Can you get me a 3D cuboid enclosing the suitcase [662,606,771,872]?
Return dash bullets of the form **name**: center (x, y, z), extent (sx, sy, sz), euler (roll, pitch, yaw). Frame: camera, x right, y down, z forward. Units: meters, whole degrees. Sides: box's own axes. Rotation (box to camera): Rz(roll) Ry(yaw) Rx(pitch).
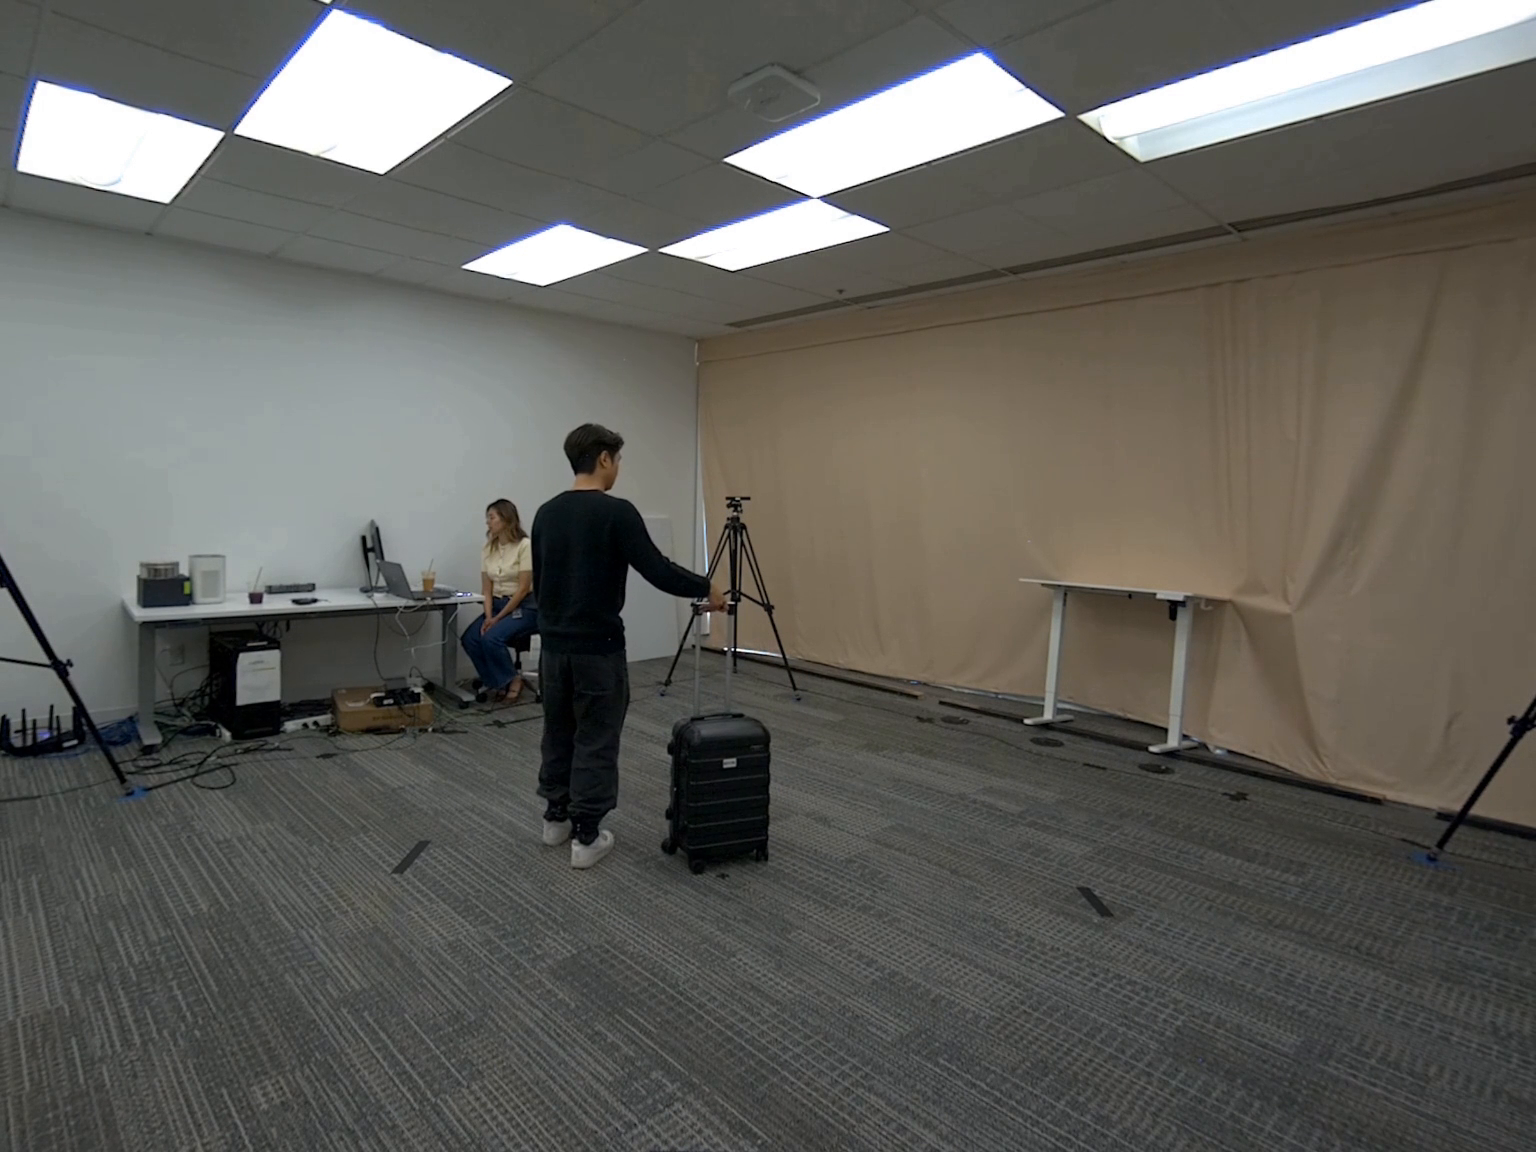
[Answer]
- **suitcase**: center (-0.188, 0.618, 3.241), extent (0.378, 0.975, 0.262), euler (-1, 4, -22)
